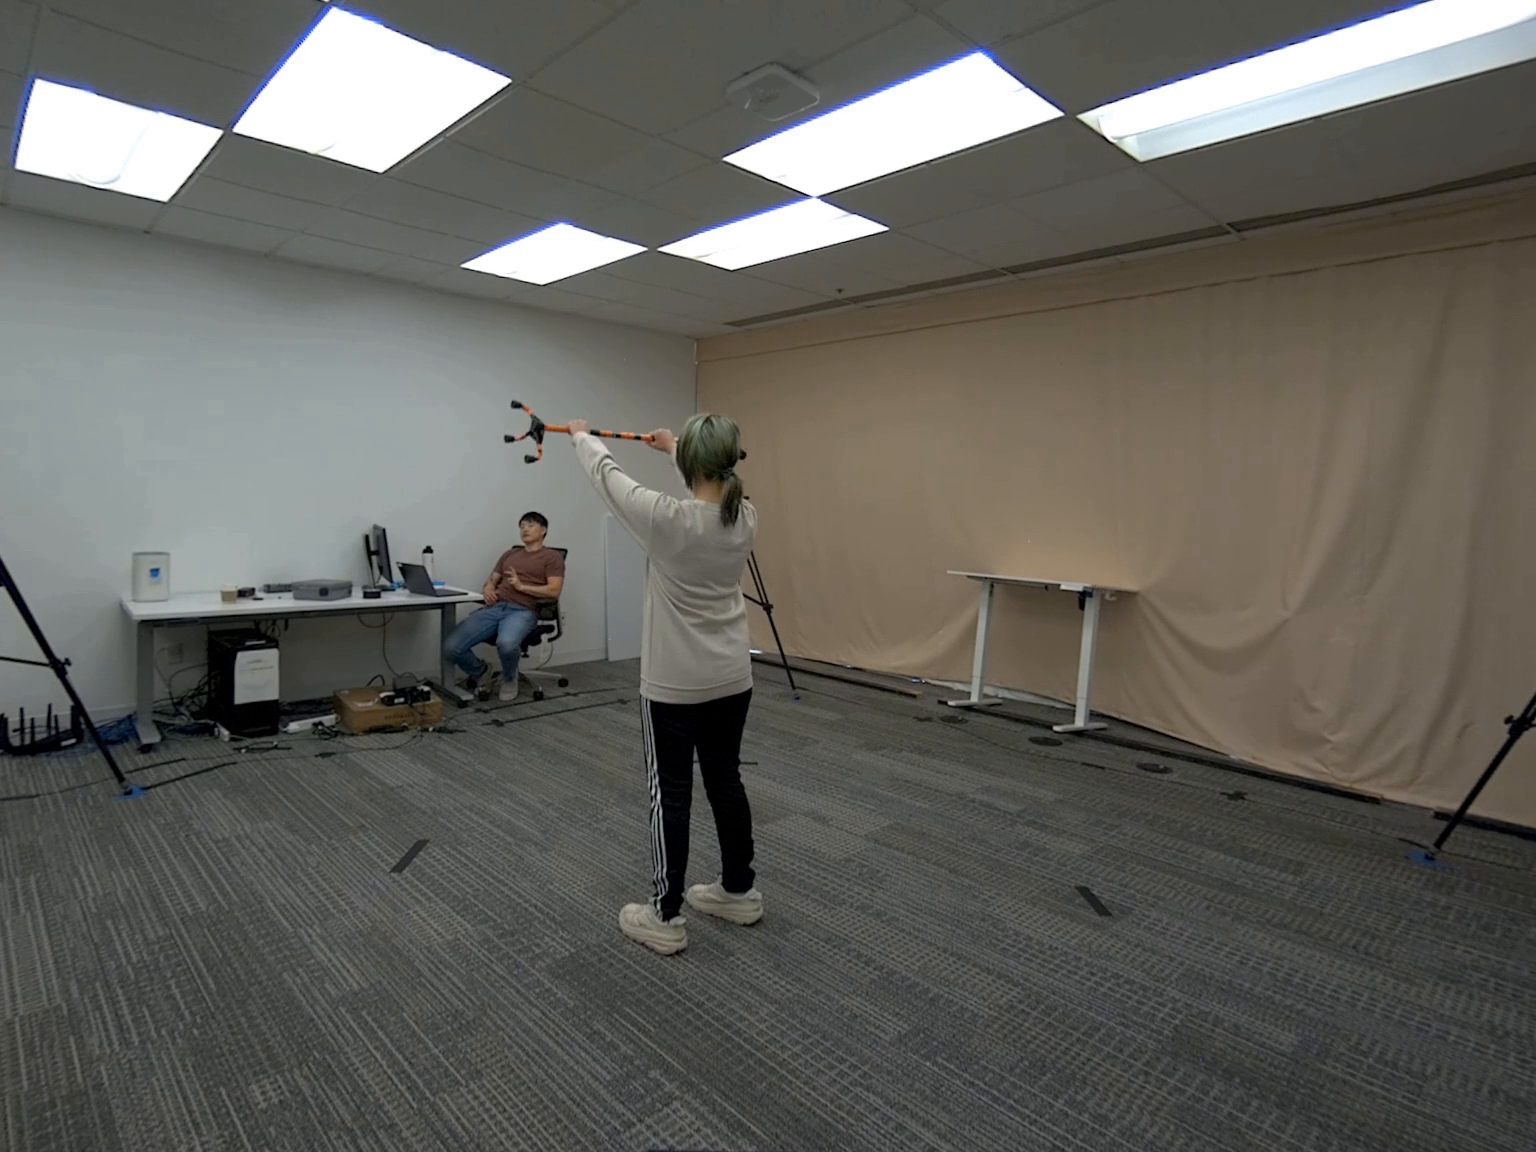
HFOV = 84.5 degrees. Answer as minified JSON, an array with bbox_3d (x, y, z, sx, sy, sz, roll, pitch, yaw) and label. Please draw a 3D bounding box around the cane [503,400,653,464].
[{"bbox_3d":[-0.481,-0.487,3.057,0.887,0.150,0.213,-2,31,-40],"label":"cane"}]
